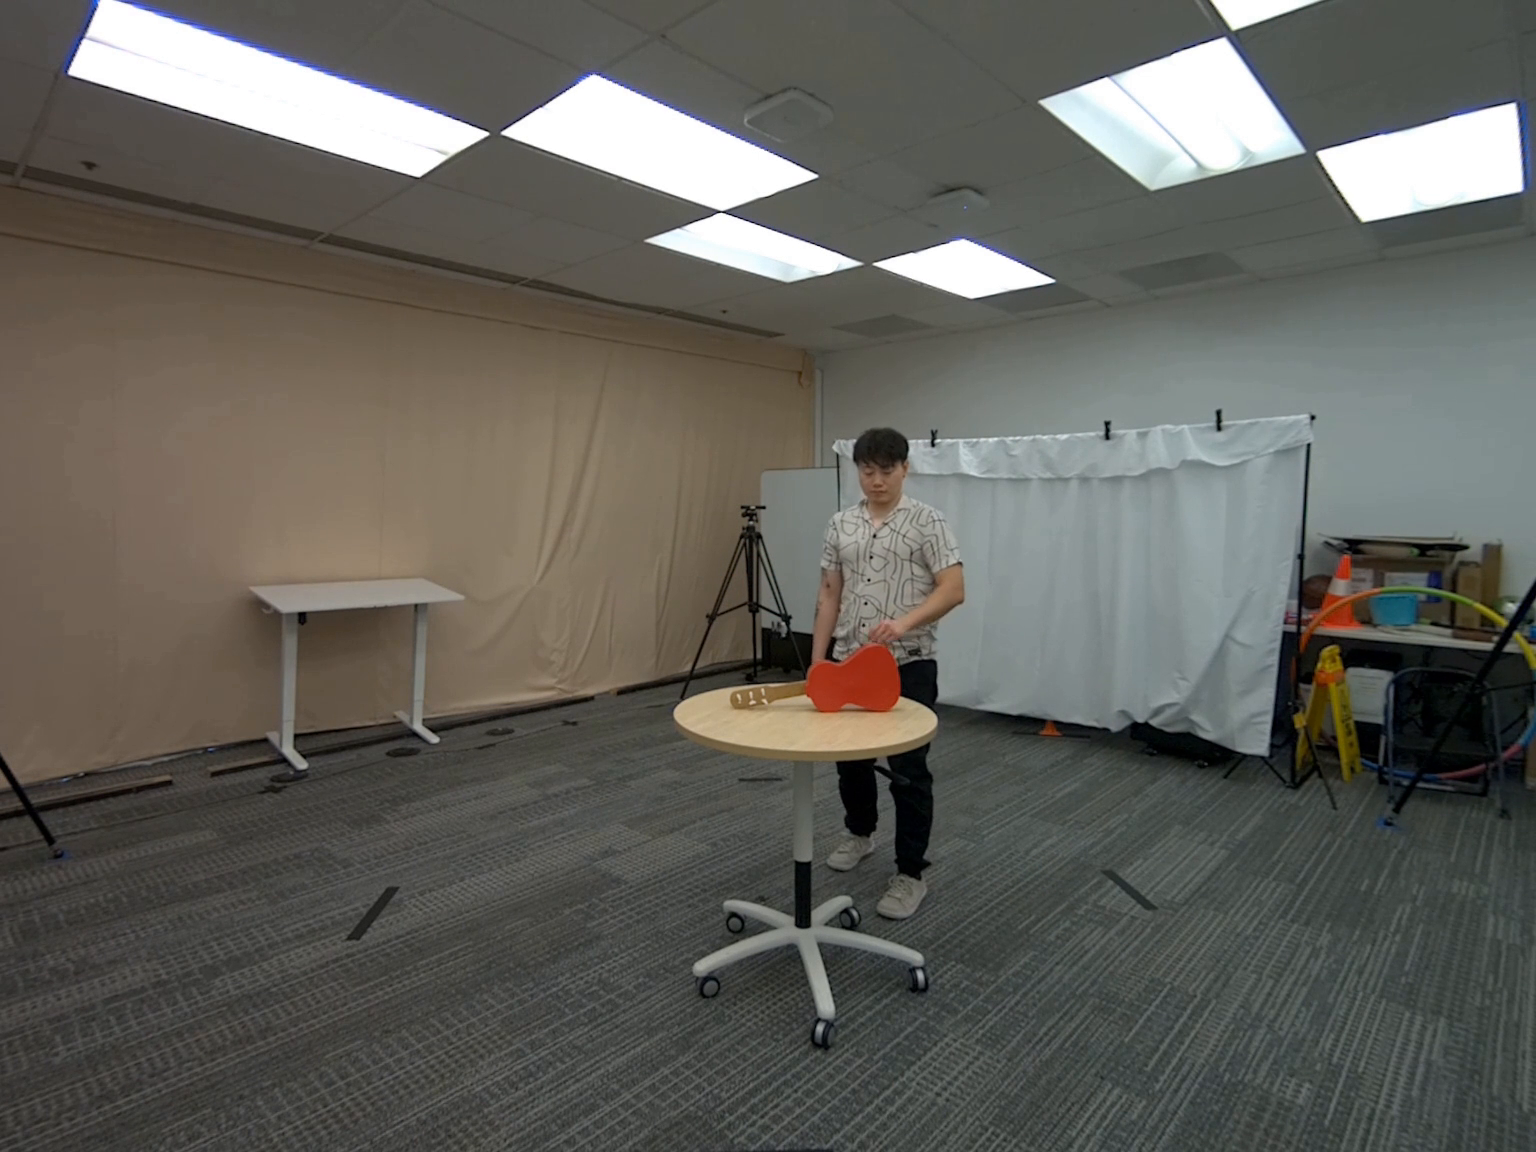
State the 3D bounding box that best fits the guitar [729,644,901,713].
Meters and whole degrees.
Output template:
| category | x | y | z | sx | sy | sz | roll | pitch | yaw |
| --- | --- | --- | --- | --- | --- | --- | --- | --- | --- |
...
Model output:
| category | x | y | z | sx | sy | sz | roll | pitch | yaw |
| --- | --- | --- | --- | --- | --- | --- | --- | --- | --- |
| guitar | 0.153 | 0.360 | 2.500 | 0.499 | 0.192 | 0.071 | -18 | 3 | 3 |
